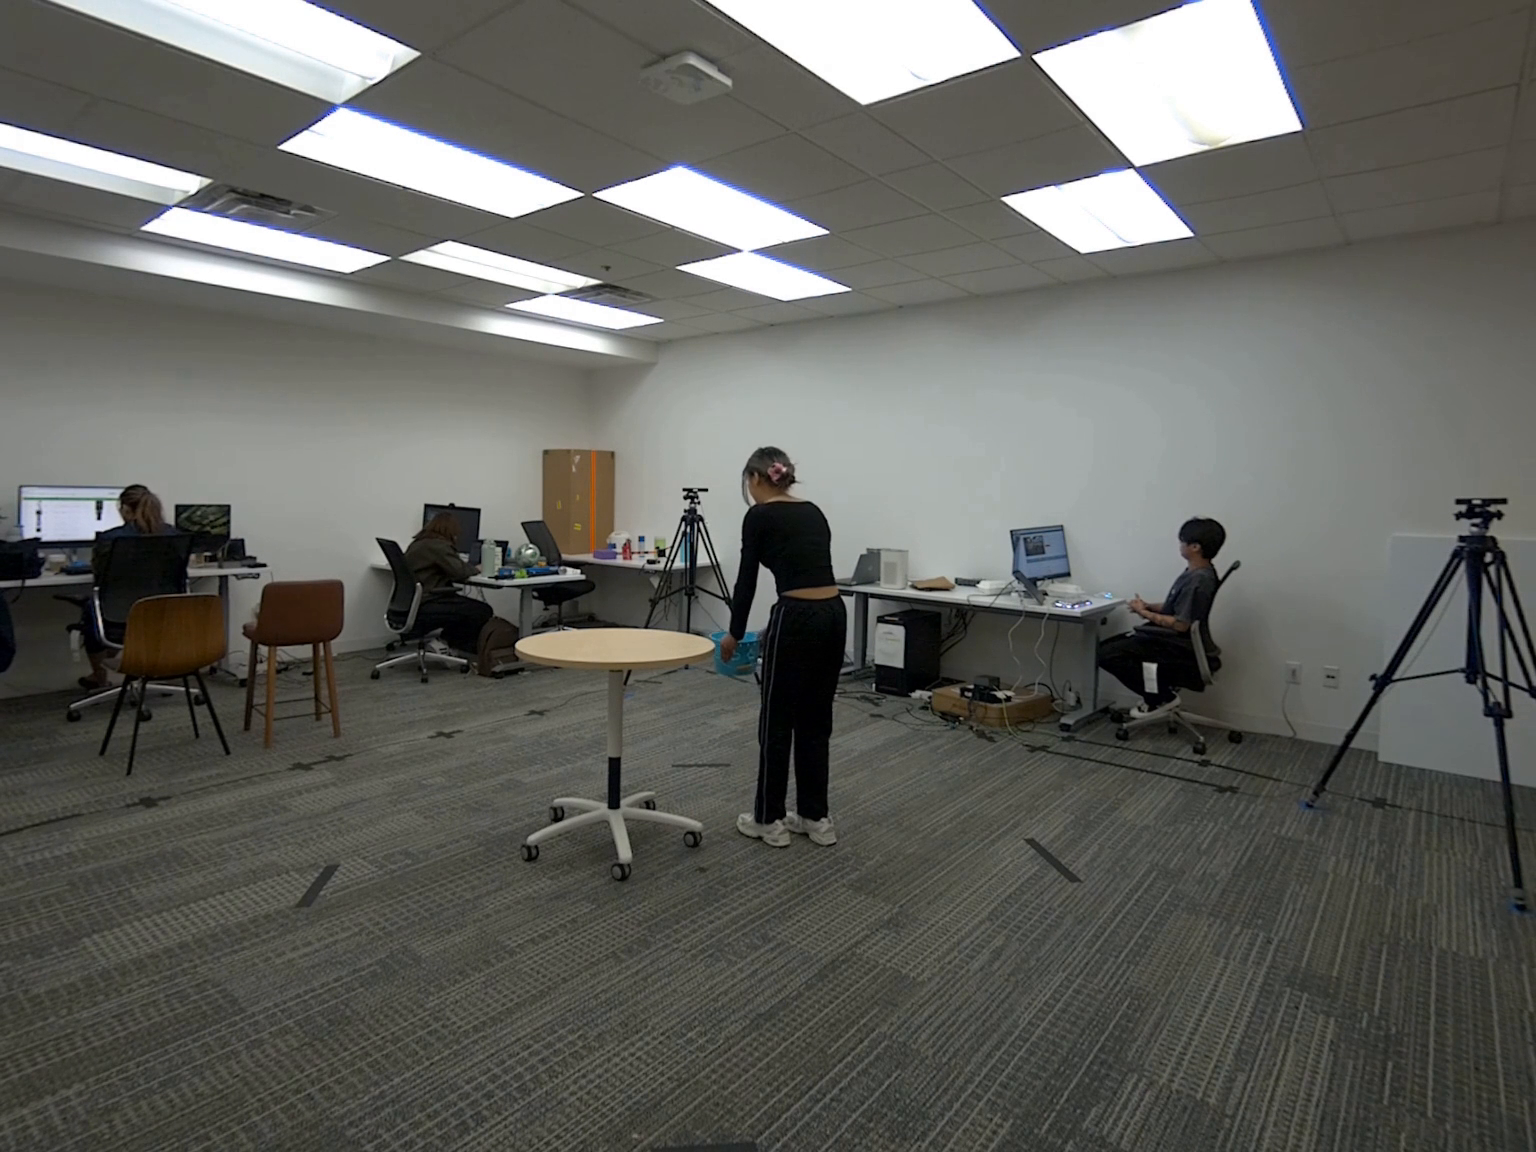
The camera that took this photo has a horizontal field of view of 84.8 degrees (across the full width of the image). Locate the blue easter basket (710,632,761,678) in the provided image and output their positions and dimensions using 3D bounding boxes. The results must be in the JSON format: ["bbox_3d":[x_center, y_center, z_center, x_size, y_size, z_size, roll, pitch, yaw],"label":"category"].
[{"bbox_3d":[-0.156,0.341,3.680,0.243,0.155,0.245,0,7,-2],"label":"blue easter basket"}]
